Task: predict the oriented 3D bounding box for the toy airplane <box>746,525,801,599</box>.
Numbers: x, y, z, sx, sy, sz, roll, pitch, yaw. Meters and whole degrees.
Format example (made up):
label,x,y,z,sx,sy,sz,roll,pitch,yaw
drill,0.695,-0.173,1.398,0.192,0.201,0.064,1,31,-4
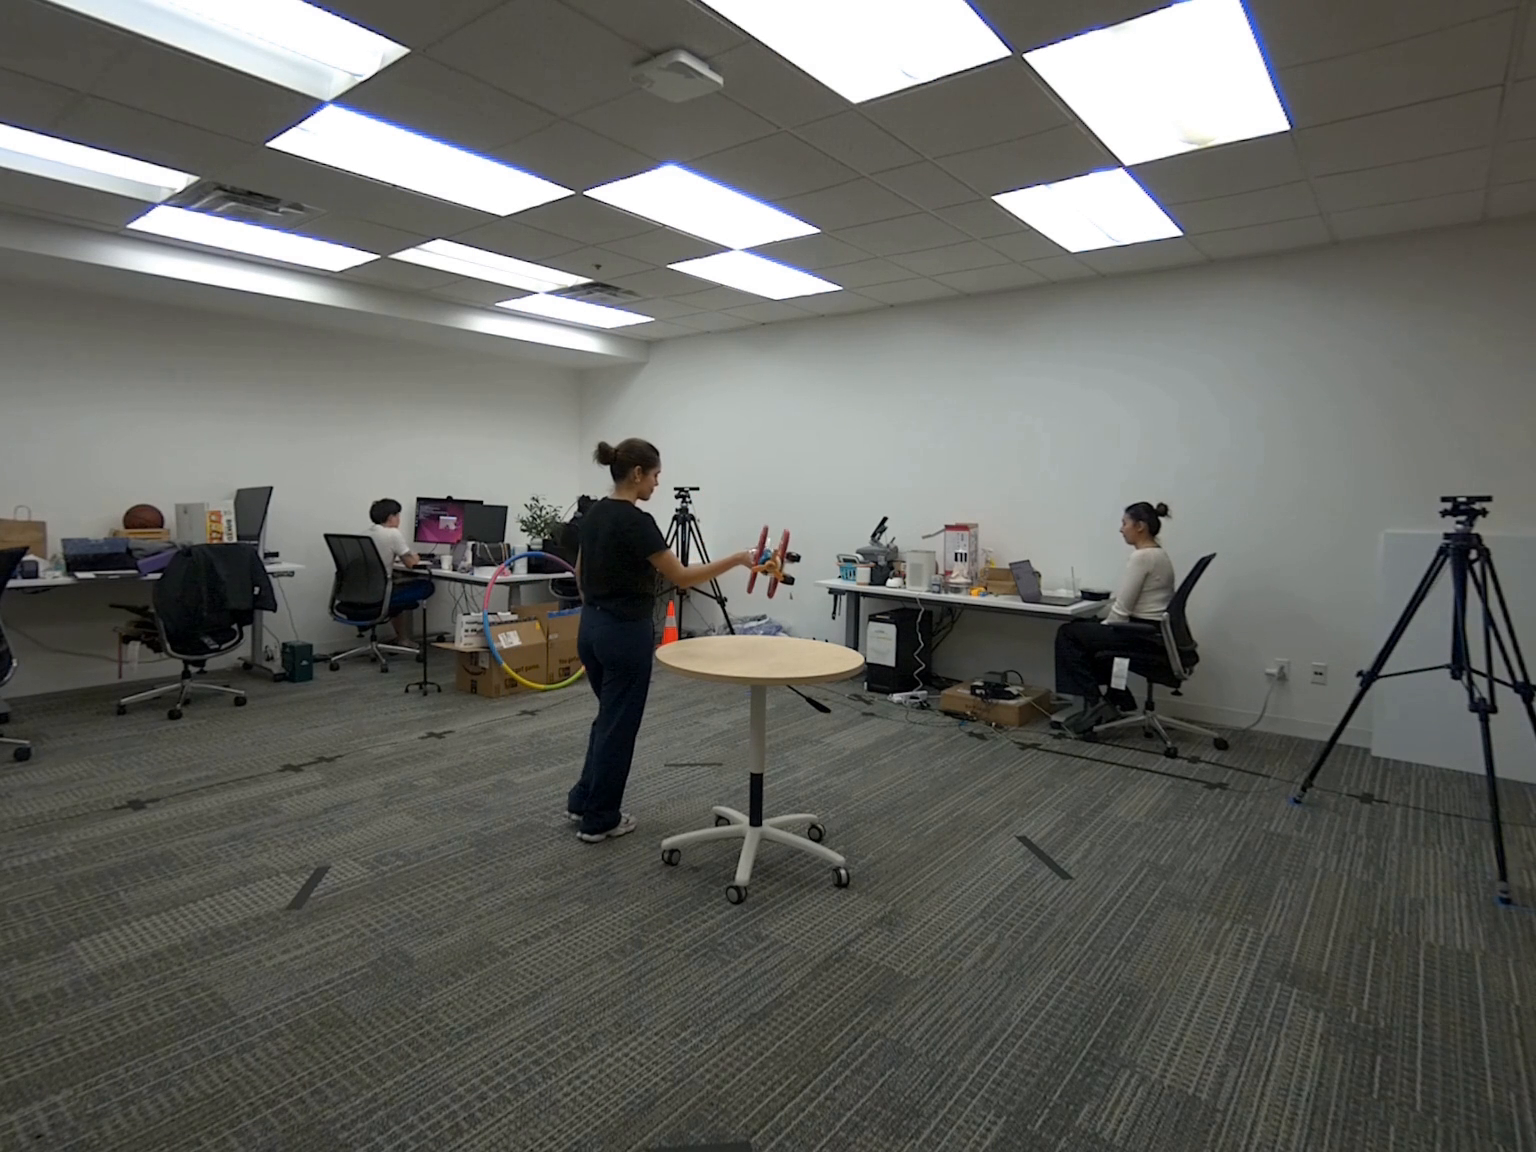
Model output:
label,x,y,z,sx,sy,sz,roll,pitch,yaw
toy airplane,0.013,-0.044,3.111,0.153,0.255,0.261,8,-17,-21
